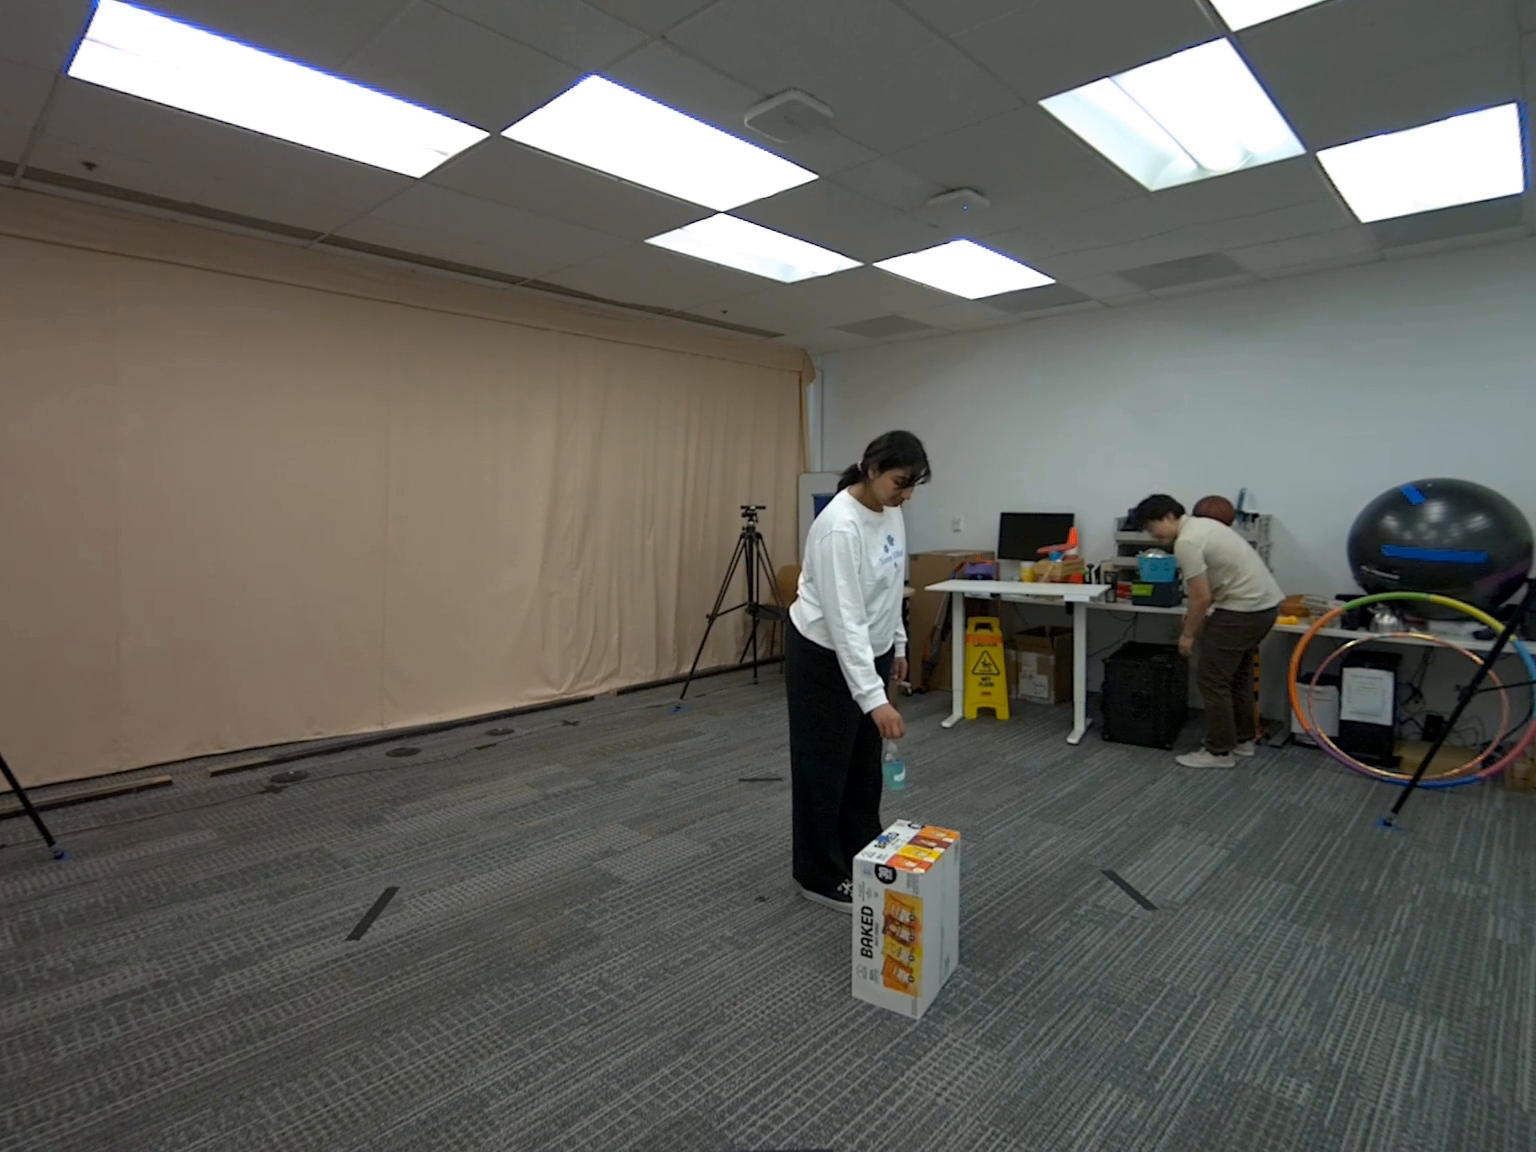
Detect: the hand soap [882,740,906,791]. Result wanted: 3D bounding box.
[{"bbox_3d":[0.388,0.560,2.579,0.082,0.169,0.044,-5,-5,-35],"label":"hand soap"}]
